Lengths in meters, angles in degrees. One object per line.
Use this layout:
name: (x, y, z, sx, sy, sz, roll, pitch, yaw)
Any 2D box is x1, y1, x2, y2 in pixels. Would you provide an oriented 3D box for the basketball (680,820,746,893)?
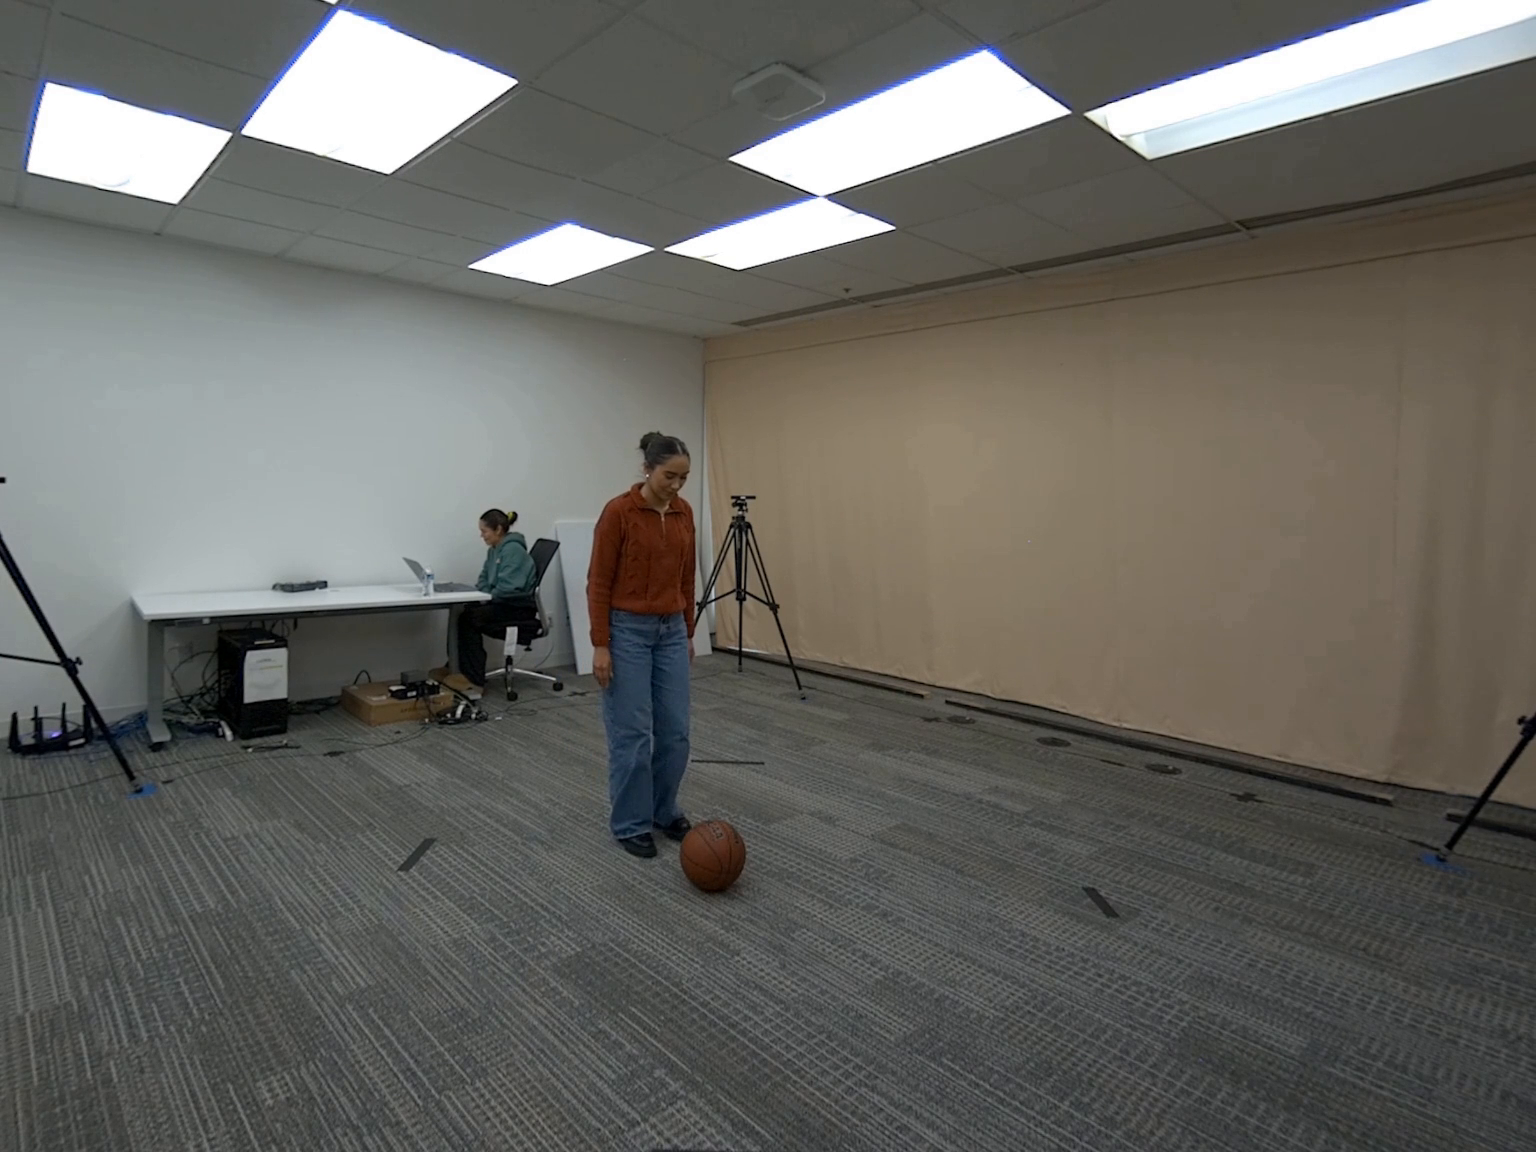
basketball: (-0.204, 0.992, 3.003, 0.236, 0.235, 0.237, 1, 4, -1)
